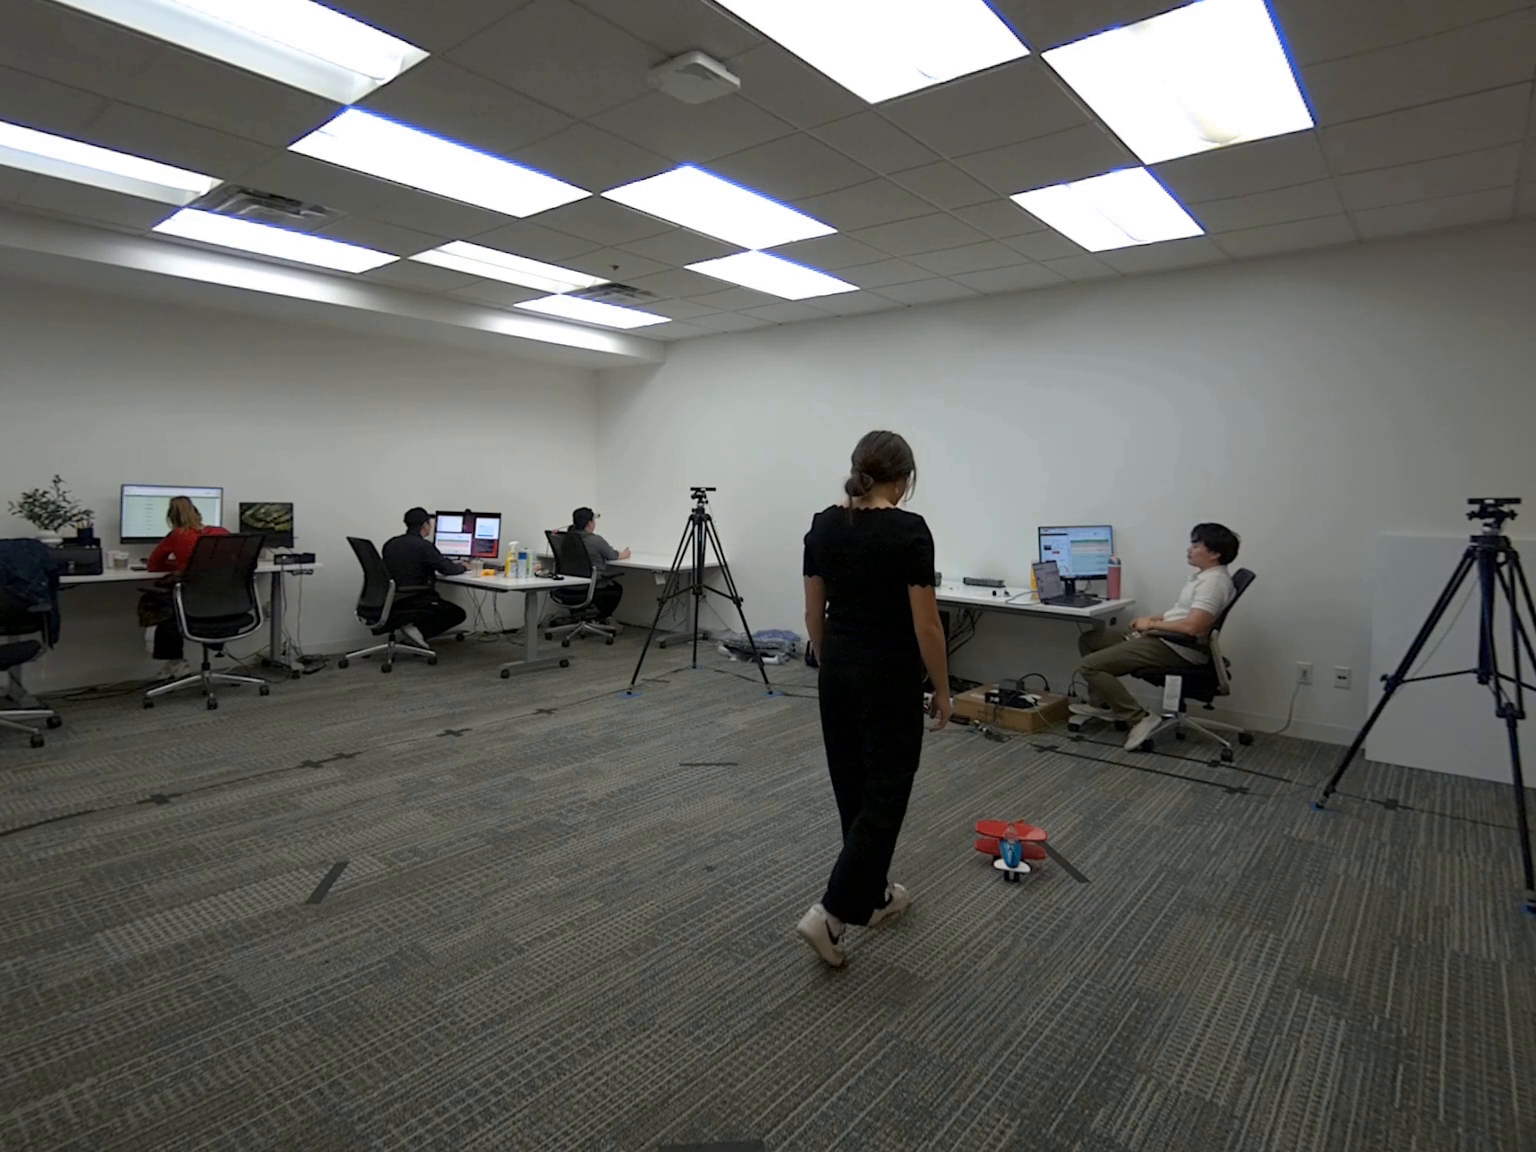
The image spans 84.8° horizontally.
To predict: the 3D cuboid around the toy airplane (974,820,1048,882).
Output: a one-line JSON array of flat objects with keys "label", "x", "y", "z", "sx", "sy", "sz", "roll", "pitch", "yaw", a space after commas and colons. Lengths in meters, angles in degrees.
[{"label": "toy airplane", "x": 0.912, "y": 1.013, "z": 3.159, "sx": 0.247, "sy": 0.156, "sz": 0.264, "roll": 0, "pitch": 4, "yaw": -14}]
